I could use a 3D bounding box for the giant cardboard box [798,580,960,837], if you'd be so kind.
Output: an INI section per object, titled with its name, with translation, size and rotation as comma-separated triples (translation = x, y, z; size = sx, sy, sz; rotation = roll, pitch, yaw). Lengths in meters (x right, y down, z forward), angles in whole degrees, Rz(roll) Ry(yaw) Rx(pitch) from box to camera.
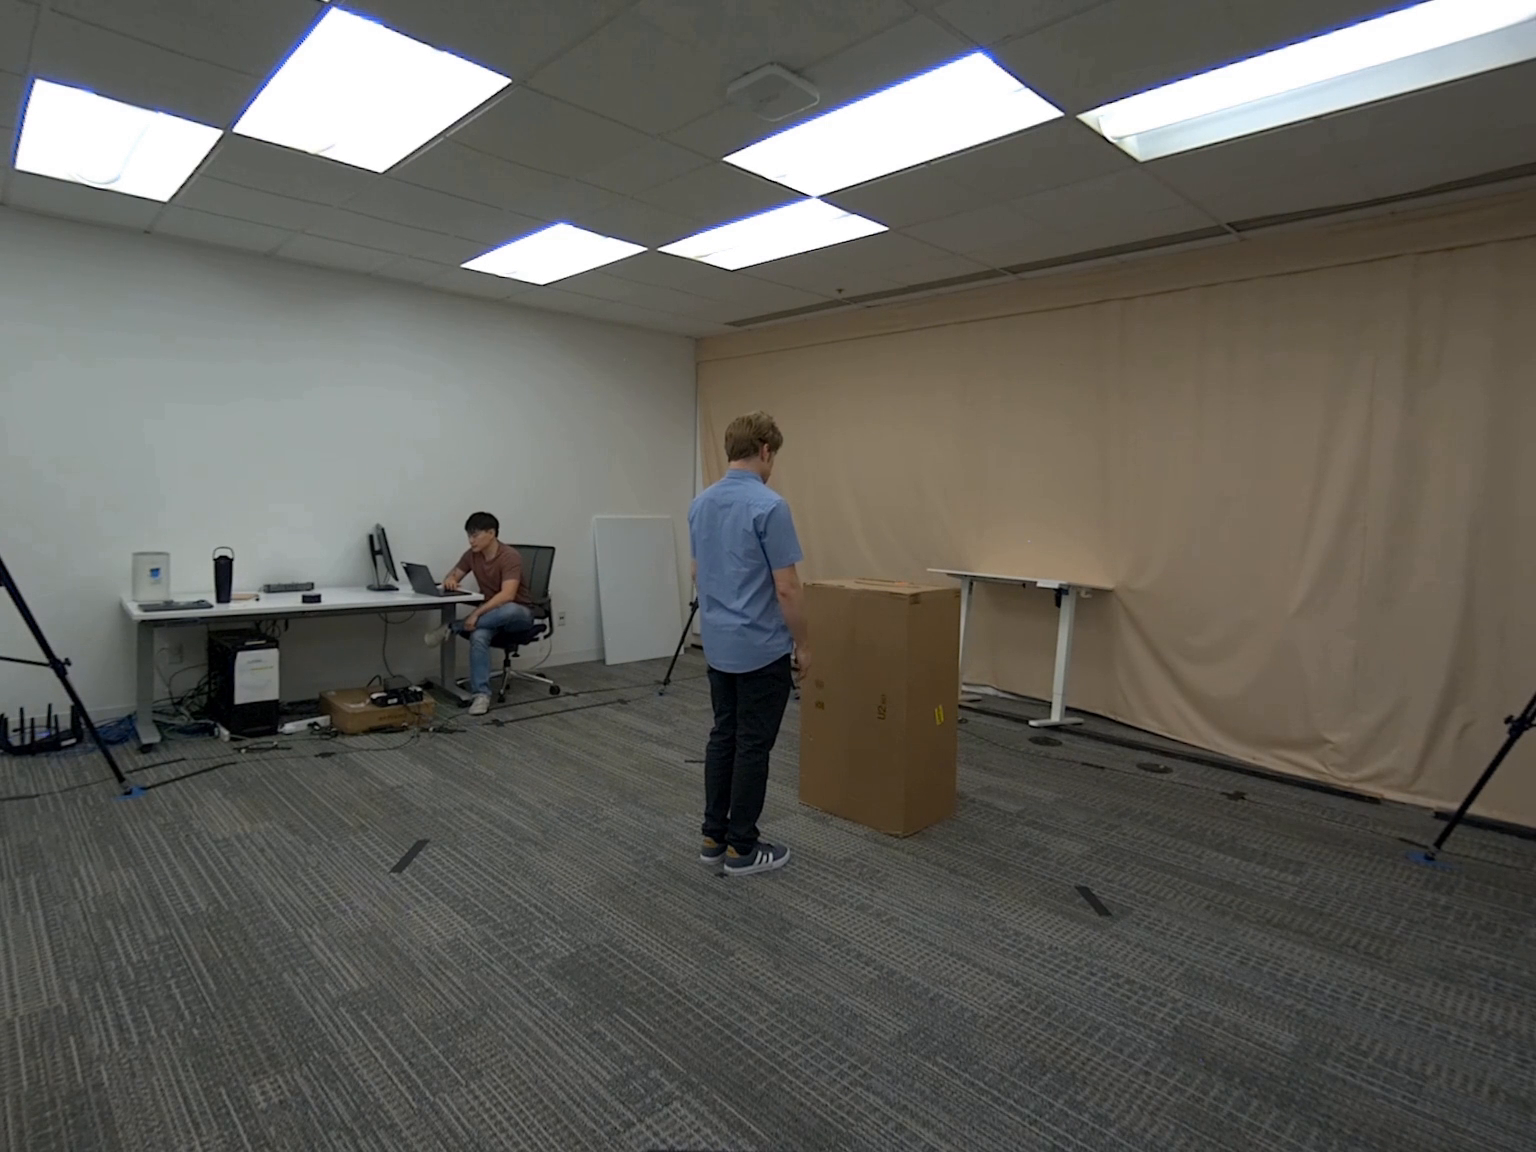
[giant cardboard box]
translation = 0.491, 0.548, 3.812
size = 0.592, 1.023, 0.416
rotation = 4, 4, 44
